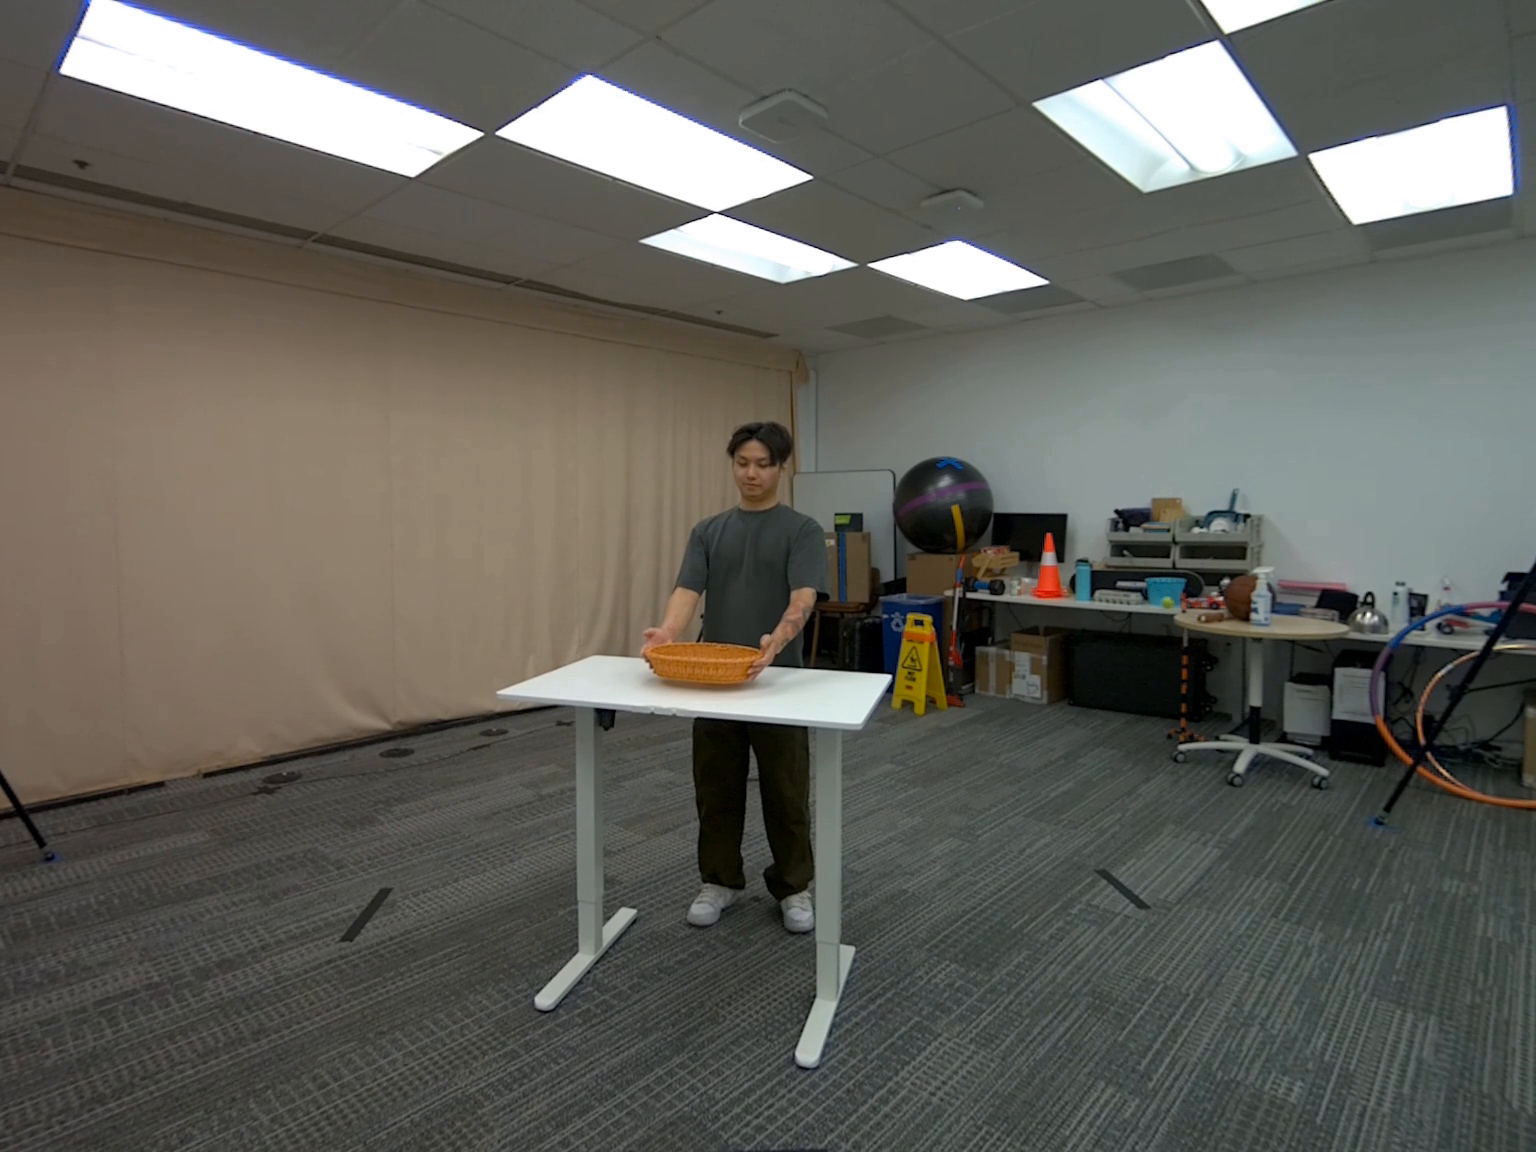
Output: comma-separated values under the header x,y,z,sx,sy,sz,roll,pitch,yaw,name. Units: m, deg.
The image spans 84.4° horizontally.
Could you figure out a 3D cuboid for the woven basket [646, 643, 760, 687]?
x,y,z,sx,sy,sz,roll,pitch,yaw,name
-0.187,0.249,2.418,0.360,0.073,0.246,3,7,28,woven basket
